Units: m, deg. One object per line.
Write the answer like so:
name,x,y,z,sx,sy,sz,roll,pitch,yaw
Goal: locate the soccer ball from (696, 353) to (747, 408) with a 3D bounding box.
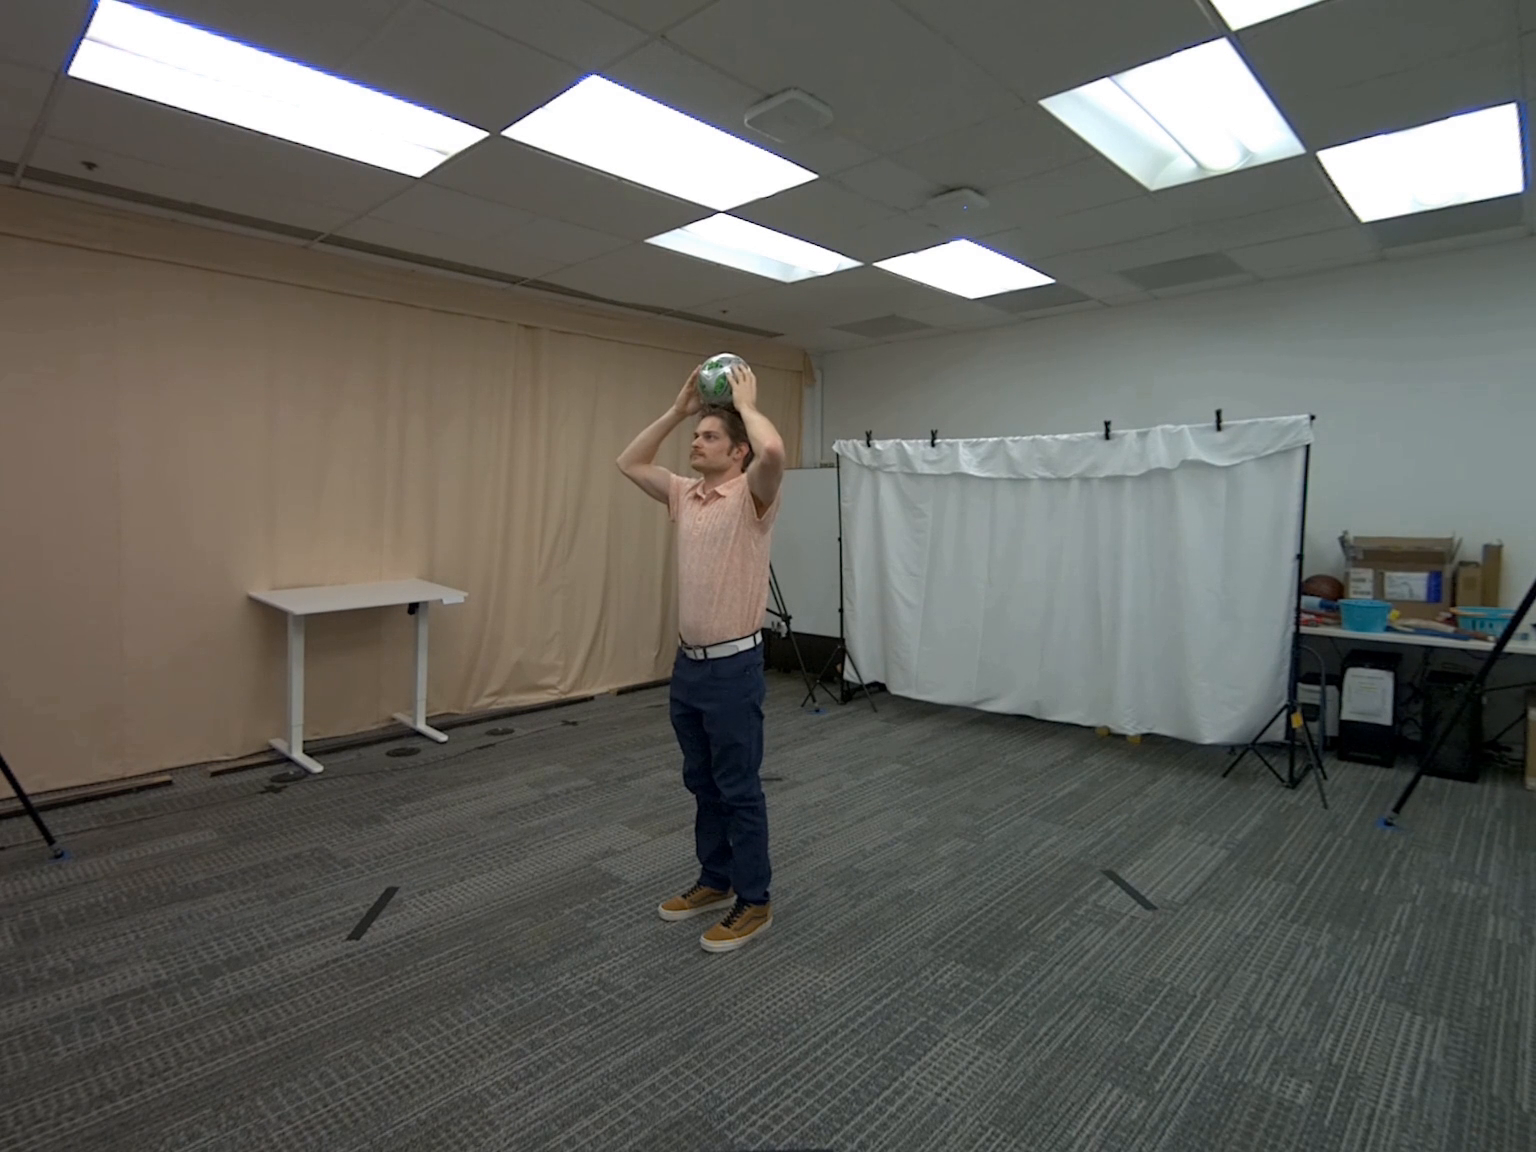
soccer ball,-0.137,-0.630,2.759,0.187,0.187,0.188,0,4,-2
